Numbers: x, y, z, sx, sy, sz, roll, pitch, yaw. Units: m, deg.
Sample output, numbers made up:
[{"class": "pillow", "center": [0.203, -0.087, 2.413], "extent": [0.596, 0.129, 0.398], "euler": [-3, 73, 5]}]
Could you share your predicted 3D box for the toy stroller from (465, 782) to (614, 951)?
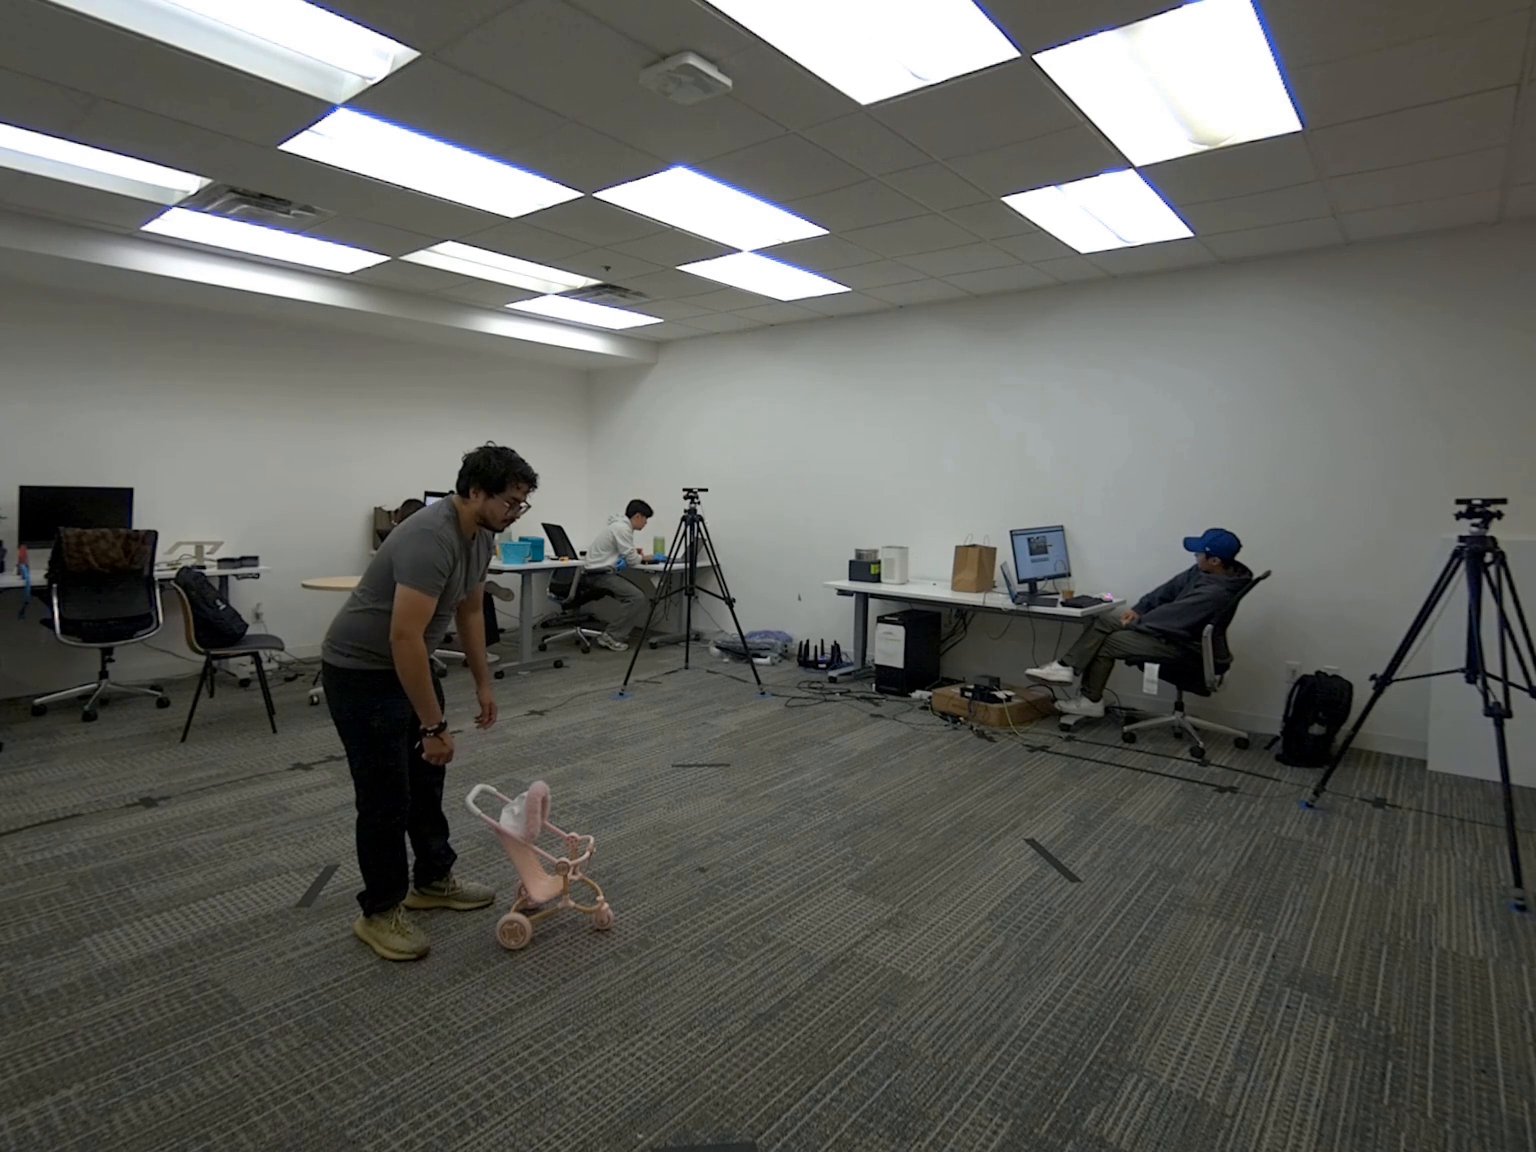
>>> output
[{"class": "toy stroller", "center": [-0.709, 0.886, 2.661], "extent": [0.342, 0.533, 0.281], "euler": [-15, 3, 3]}]
